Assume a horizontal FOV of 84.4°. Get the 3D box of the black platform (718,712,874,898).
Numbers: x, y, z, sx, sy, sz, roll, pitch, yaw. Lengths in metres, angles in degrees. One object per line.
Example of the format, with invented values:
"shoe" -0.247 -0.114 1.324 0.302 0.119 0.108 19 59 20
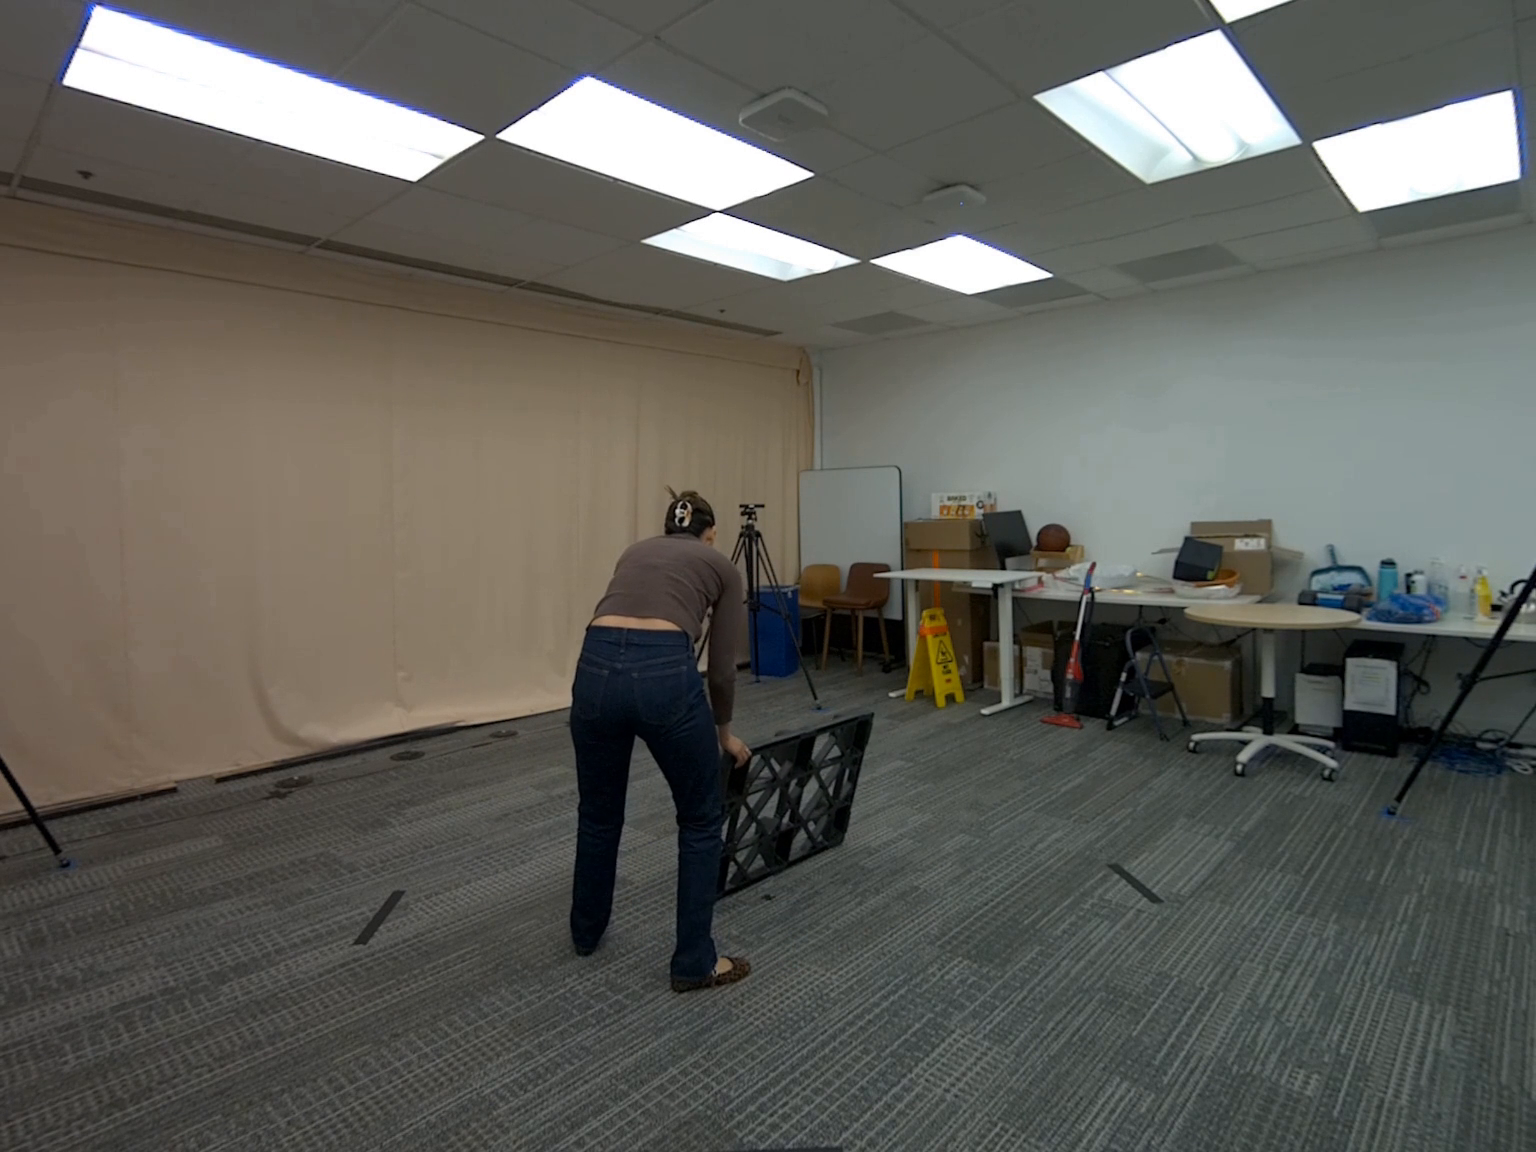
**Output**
"black platform" 0.059 0.824 3.147 0.781 0.601 0.149 -5 22 -45
